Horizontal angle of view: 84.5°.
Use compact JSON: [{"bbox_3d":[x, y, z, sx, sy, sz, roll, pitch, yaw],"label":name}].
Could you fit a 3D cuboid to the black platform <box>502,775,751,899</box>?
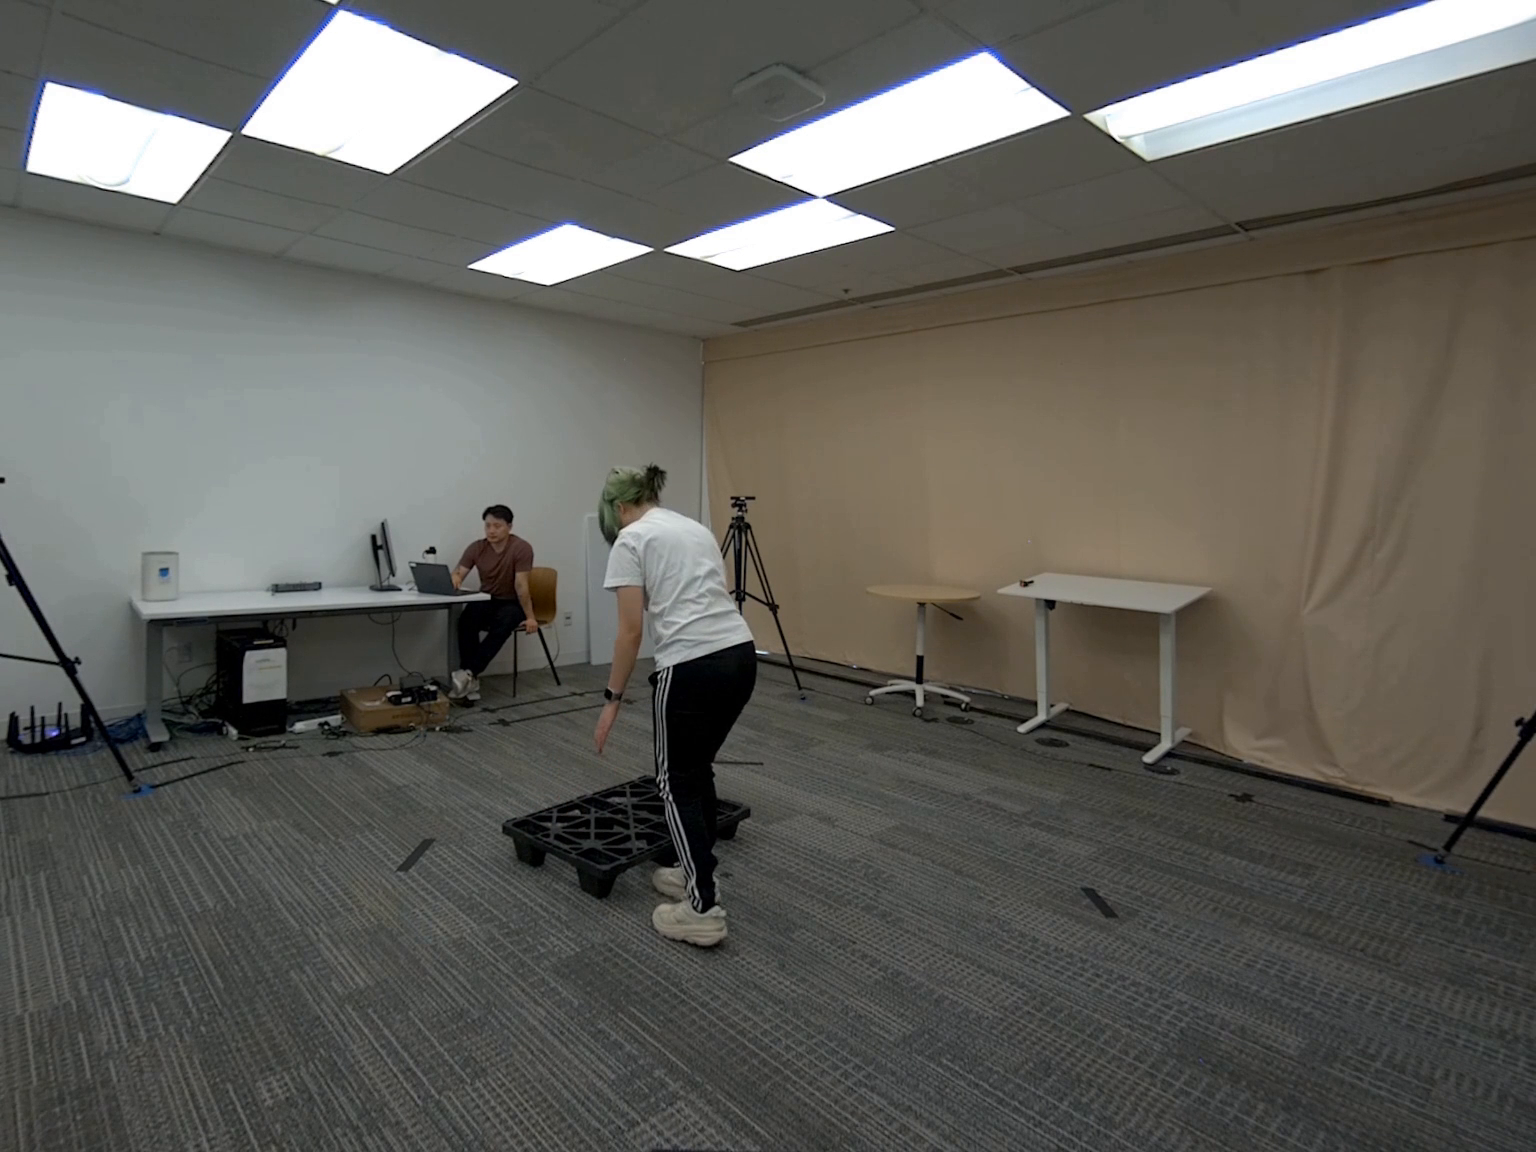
[{"bbox_3d":[-0.546,1.009,3.322,0.620,0.143,0.788,6,7,38],"label":"black platform"}]
